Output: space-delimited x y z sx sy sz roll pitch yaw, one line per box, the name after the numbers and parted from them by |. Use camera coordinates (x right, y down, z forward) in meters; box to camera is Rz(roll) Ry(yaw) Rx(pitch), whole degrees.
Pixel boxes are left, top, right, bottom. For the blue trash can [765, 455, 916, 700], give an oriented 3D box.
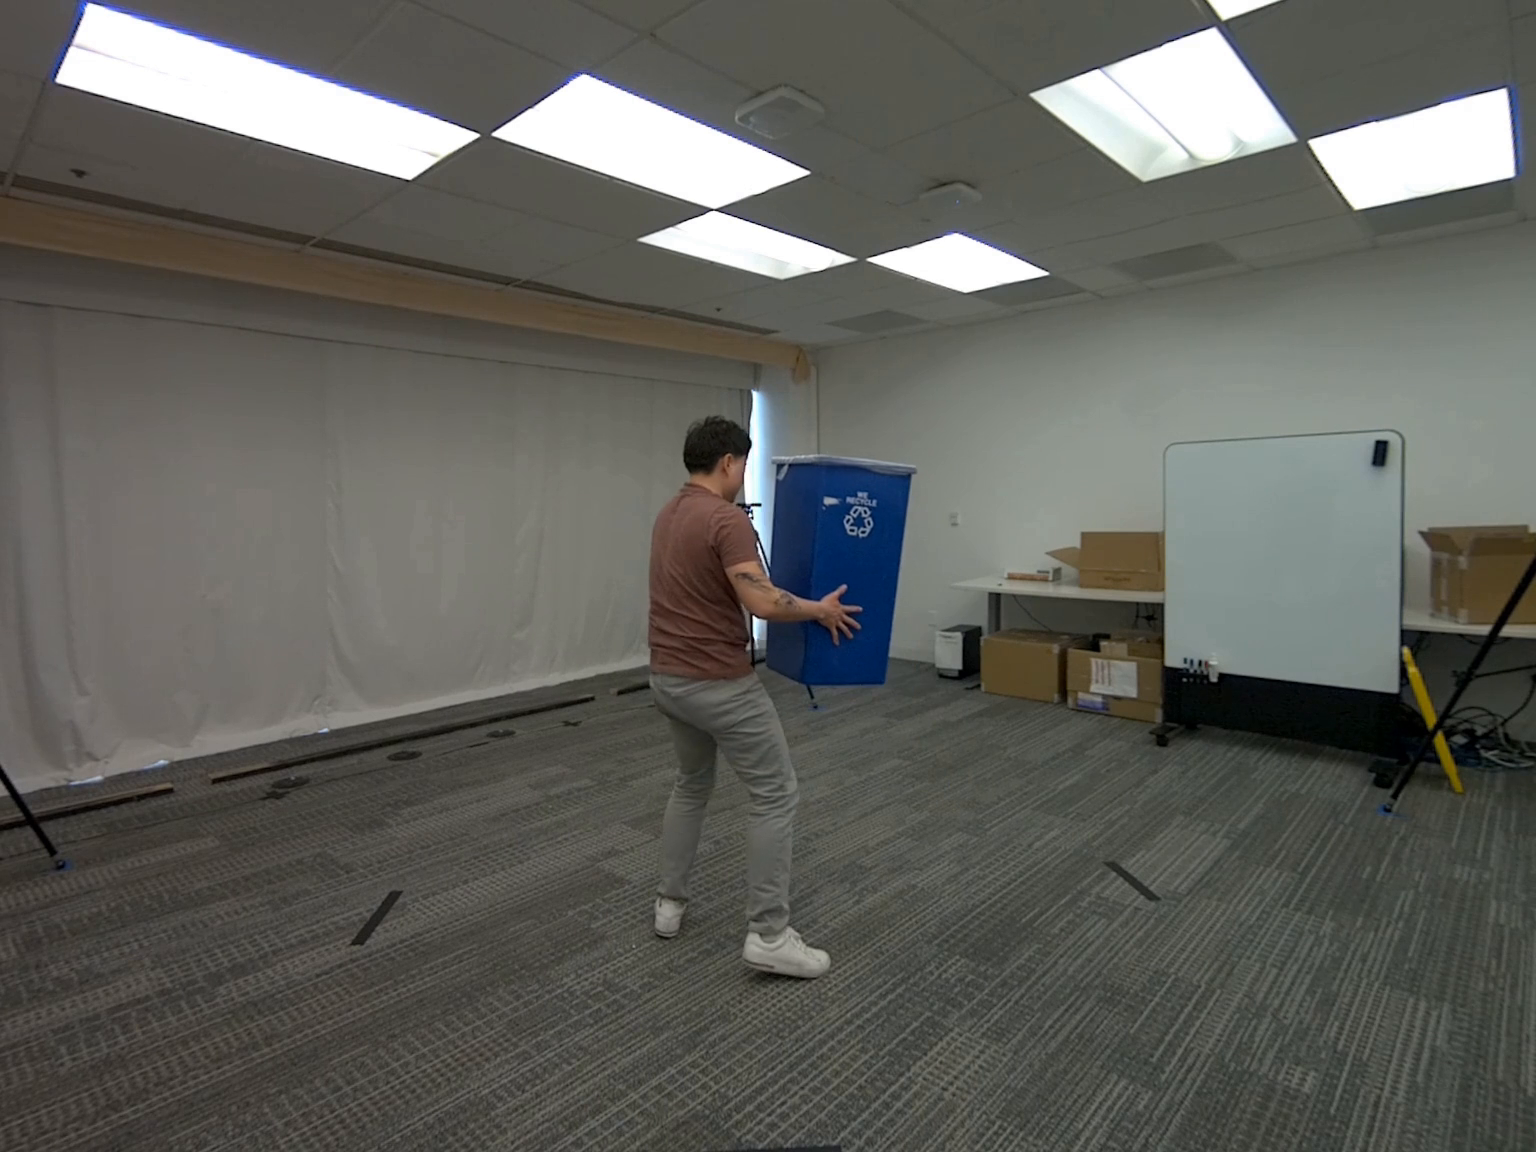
0.230 -0.020 2.796 0.365 0.712 0.388 2 4 -24 | blue trash can
